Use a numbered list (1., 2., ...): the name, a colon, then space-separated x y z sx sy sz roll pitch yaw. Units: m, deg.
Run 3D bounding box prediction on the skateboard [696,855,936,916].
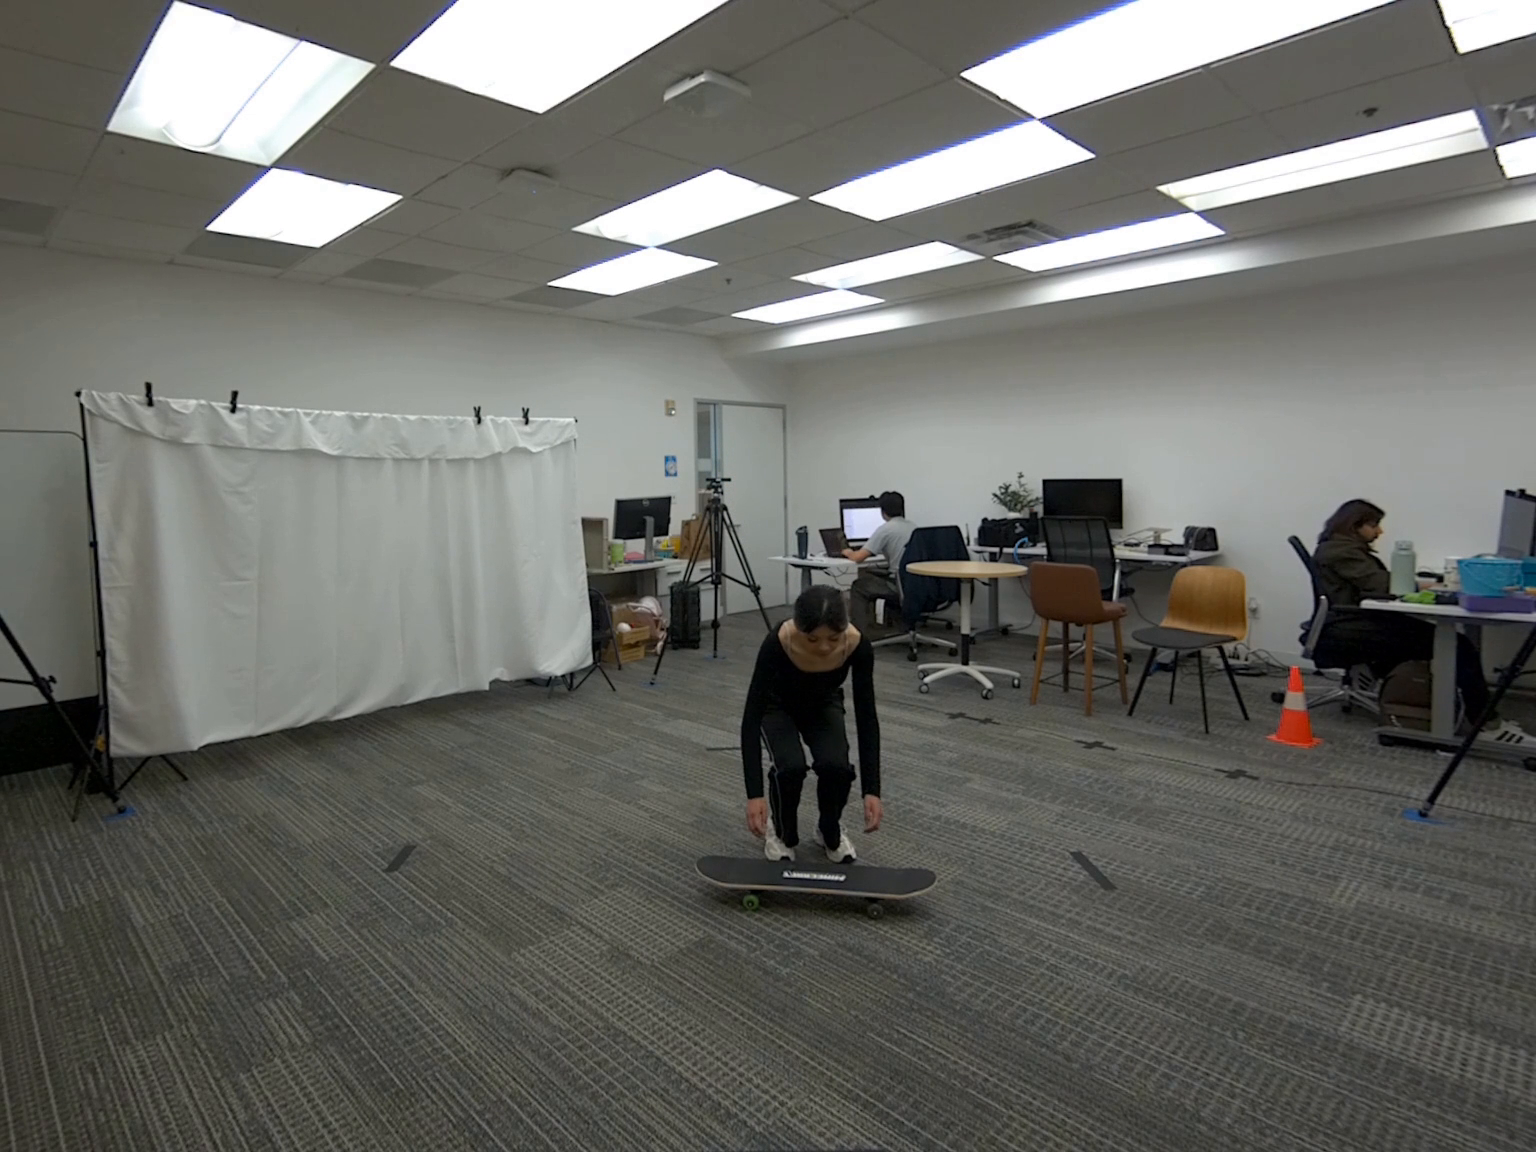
1. skateboard: 0.148 1.012 2.811 0.793 0.110 0.192 0 7 10
